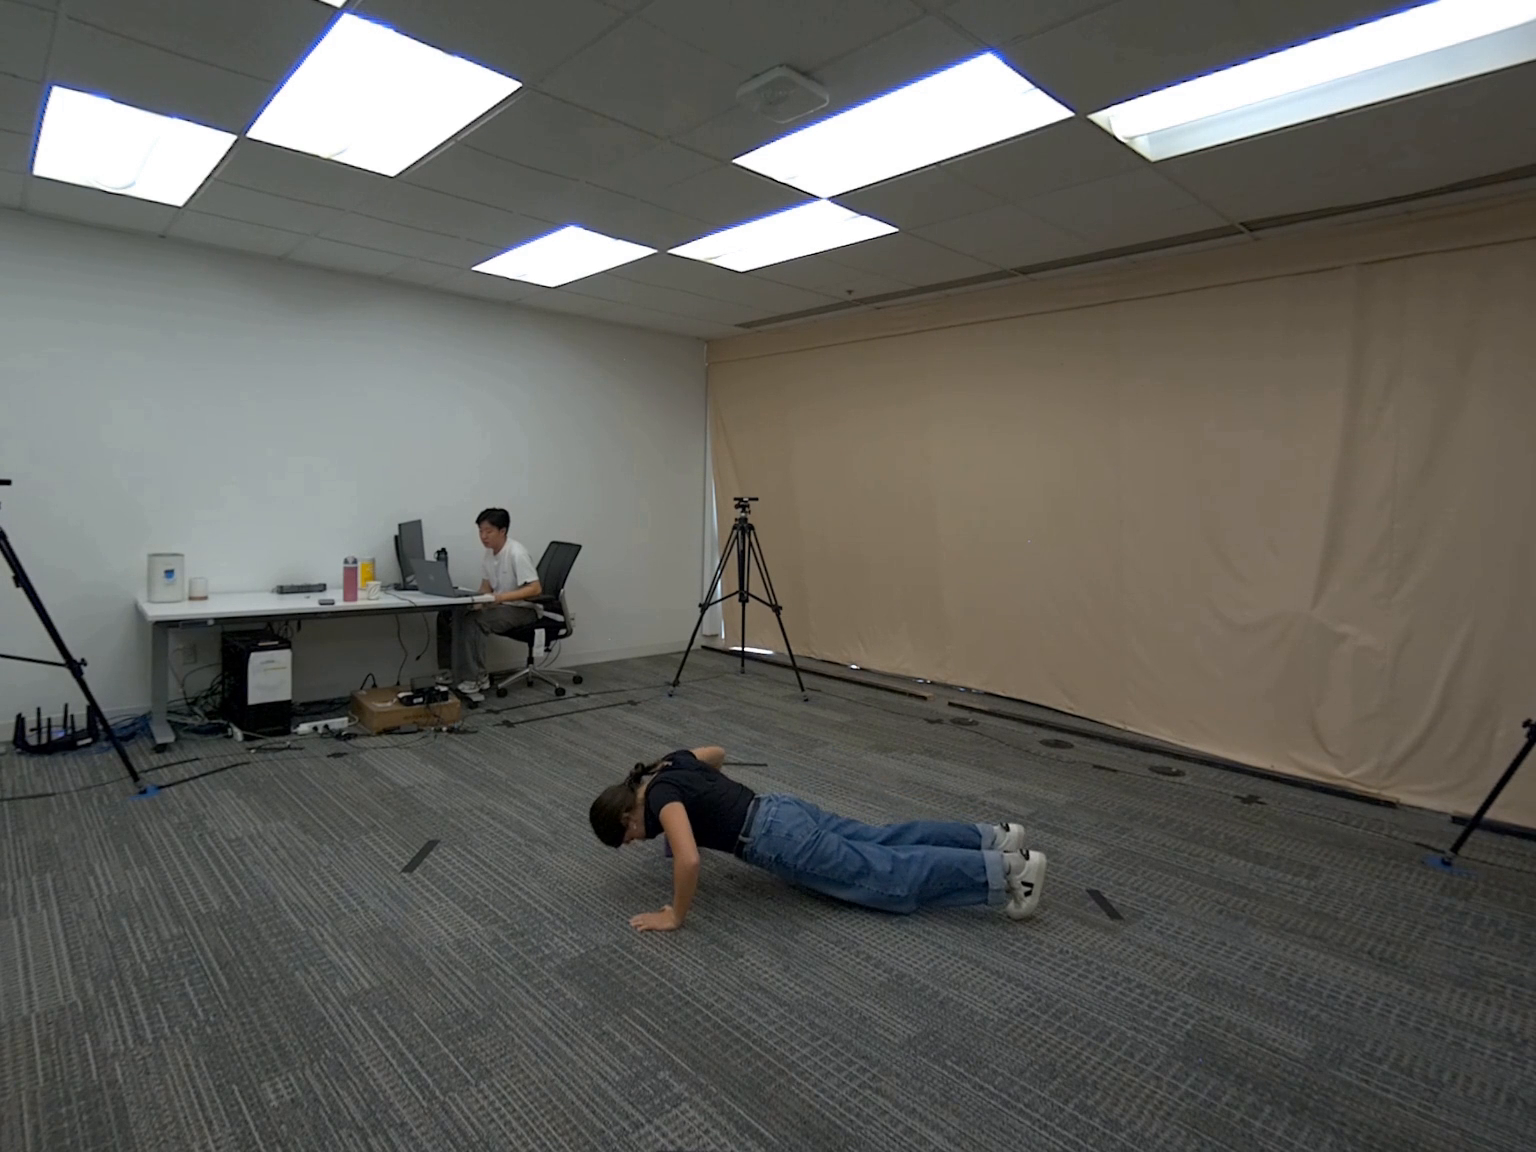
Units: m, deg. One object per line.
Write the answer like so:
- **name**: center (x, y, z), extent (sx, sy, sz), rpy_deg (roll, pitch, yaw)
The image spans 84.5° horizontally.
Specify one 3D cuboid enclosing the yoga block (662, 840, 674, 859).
- **yoga block**: center (-0.353, 1.017, 3.352), extent (0.077, 0.148, 0.229), rpy_deg (2, 7, 6)
